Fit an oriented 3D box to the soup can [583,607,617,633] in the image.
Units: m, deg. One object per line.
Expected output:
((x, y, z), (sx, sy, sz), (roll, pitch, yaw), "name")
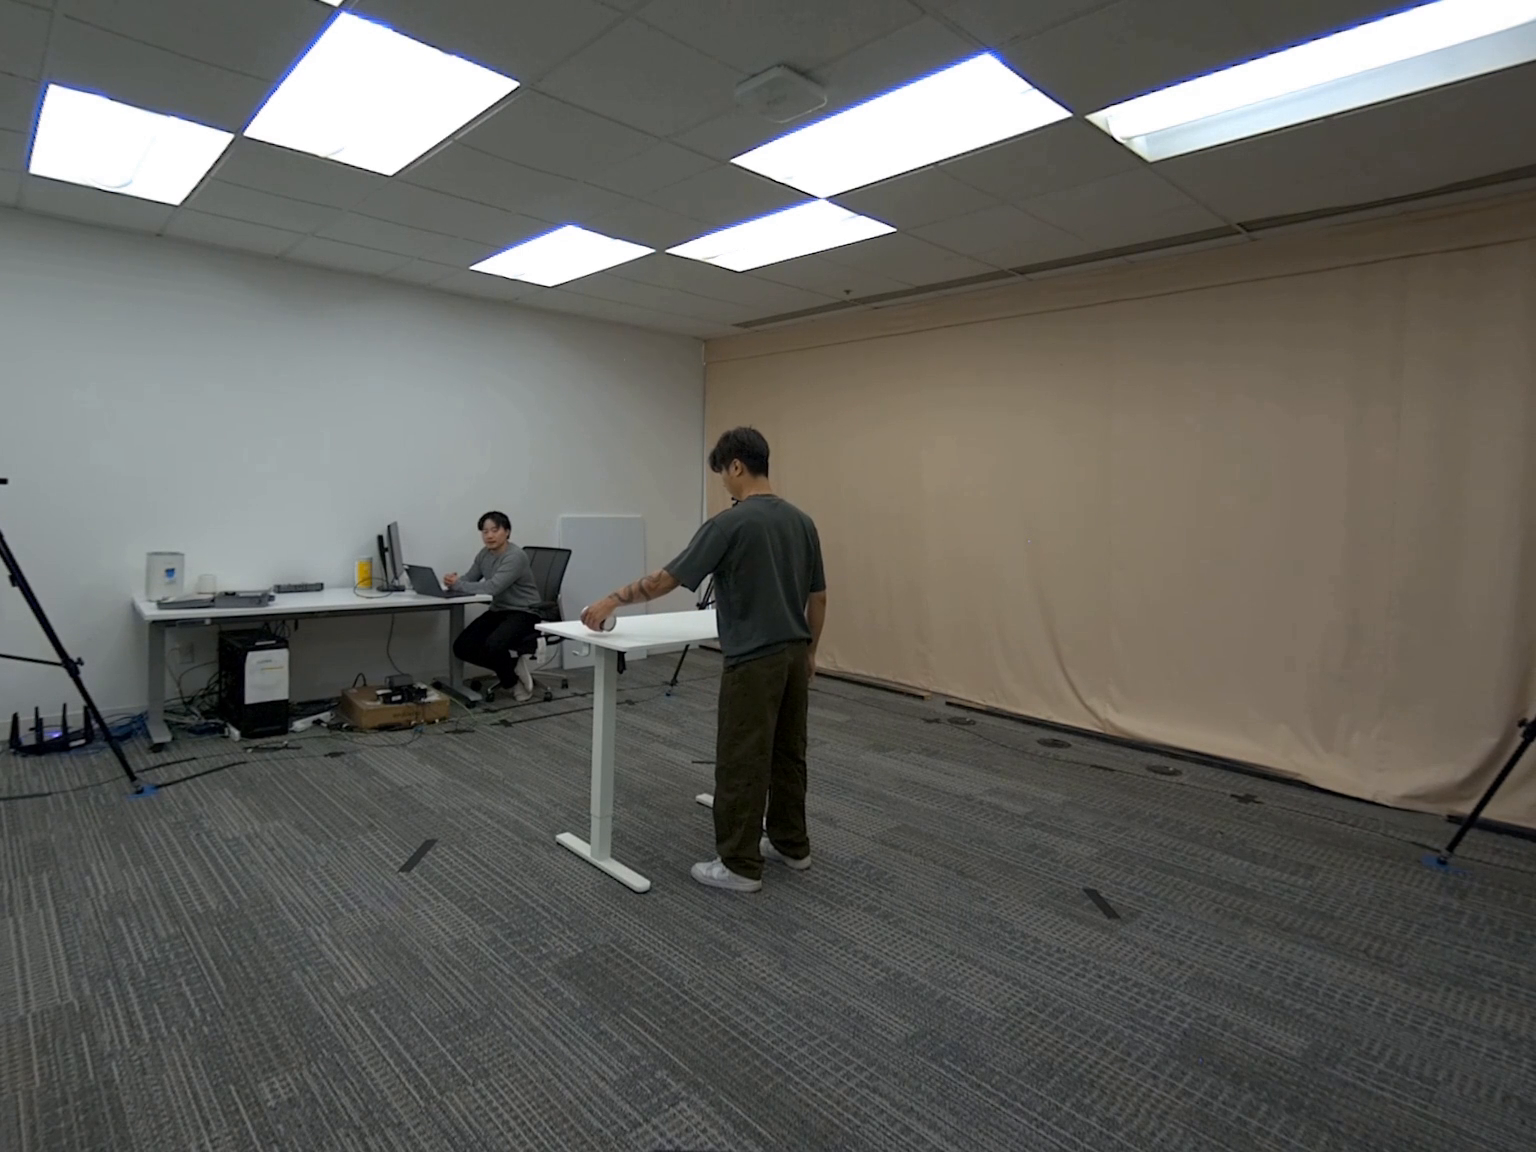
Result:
((-0.602, 0.154, 3.052), (0.124, 0.067, 0.066), (10, 7, 21), "soup can")
